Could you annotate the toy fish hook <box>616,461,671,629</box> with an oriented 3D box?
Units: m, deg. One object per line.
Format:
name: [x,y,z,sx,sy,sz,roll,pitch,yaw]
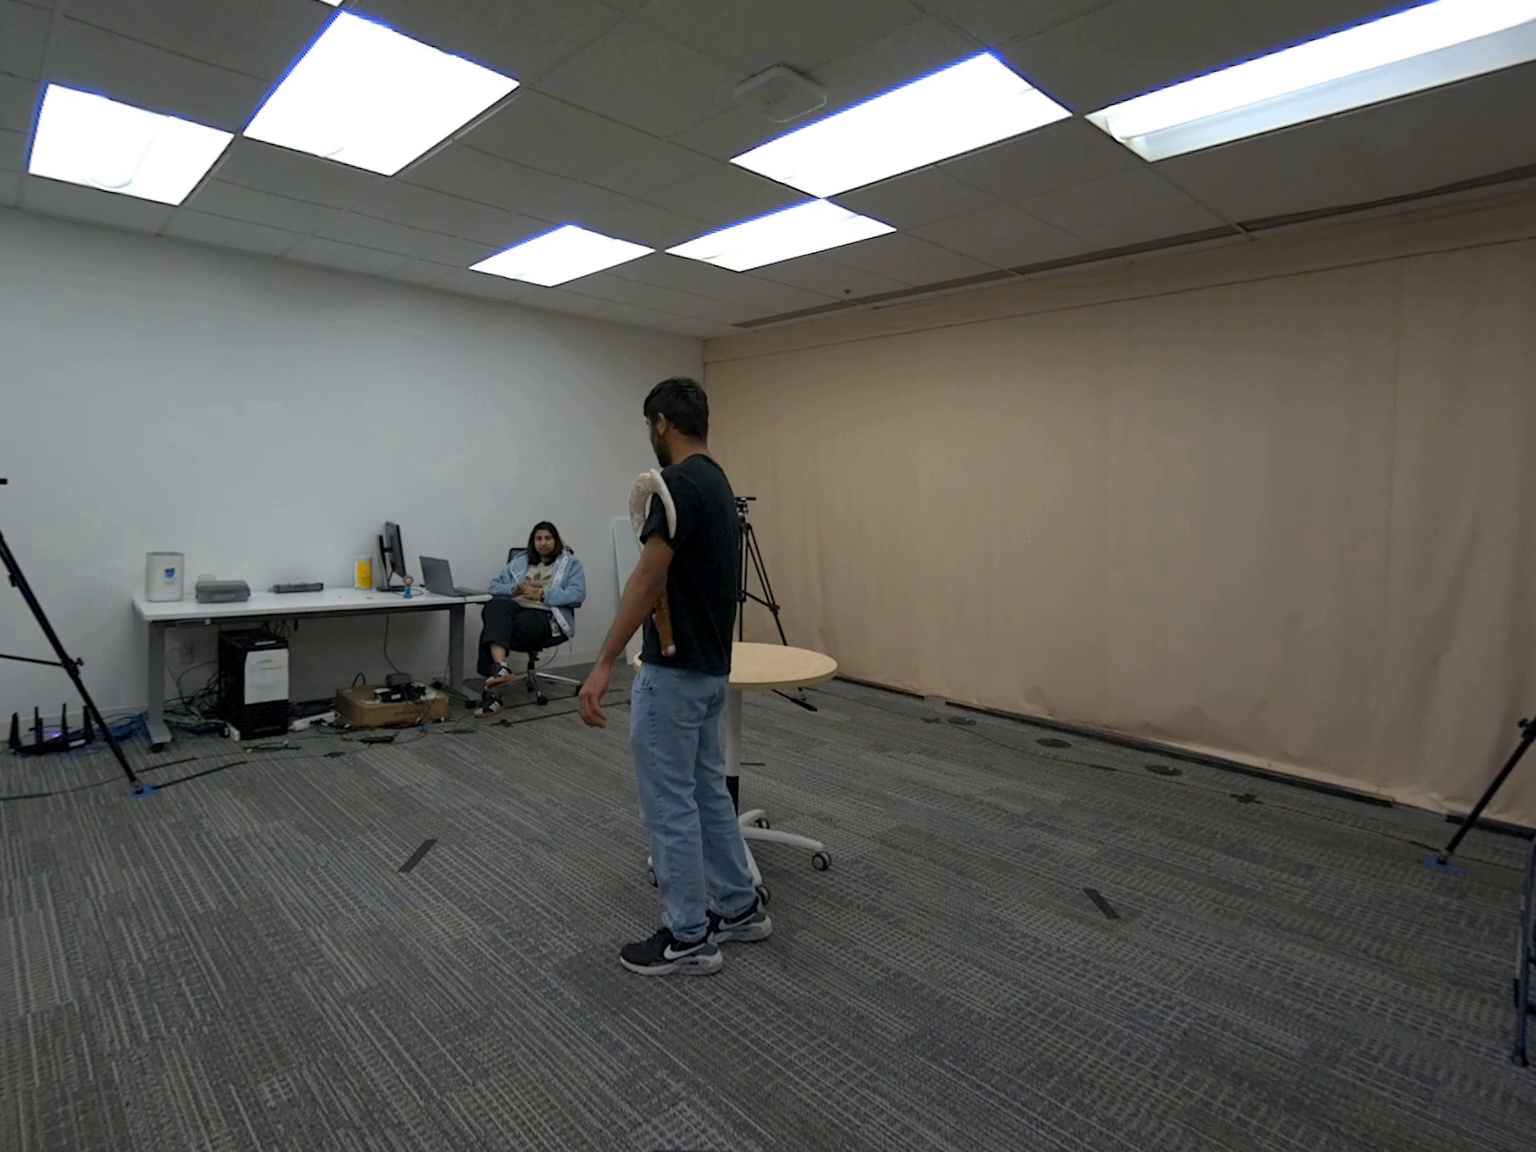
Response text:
toy fish hook: [-0.296,-0.043,2.291,0.047,0.507,0.228,-10,-1,-35]
